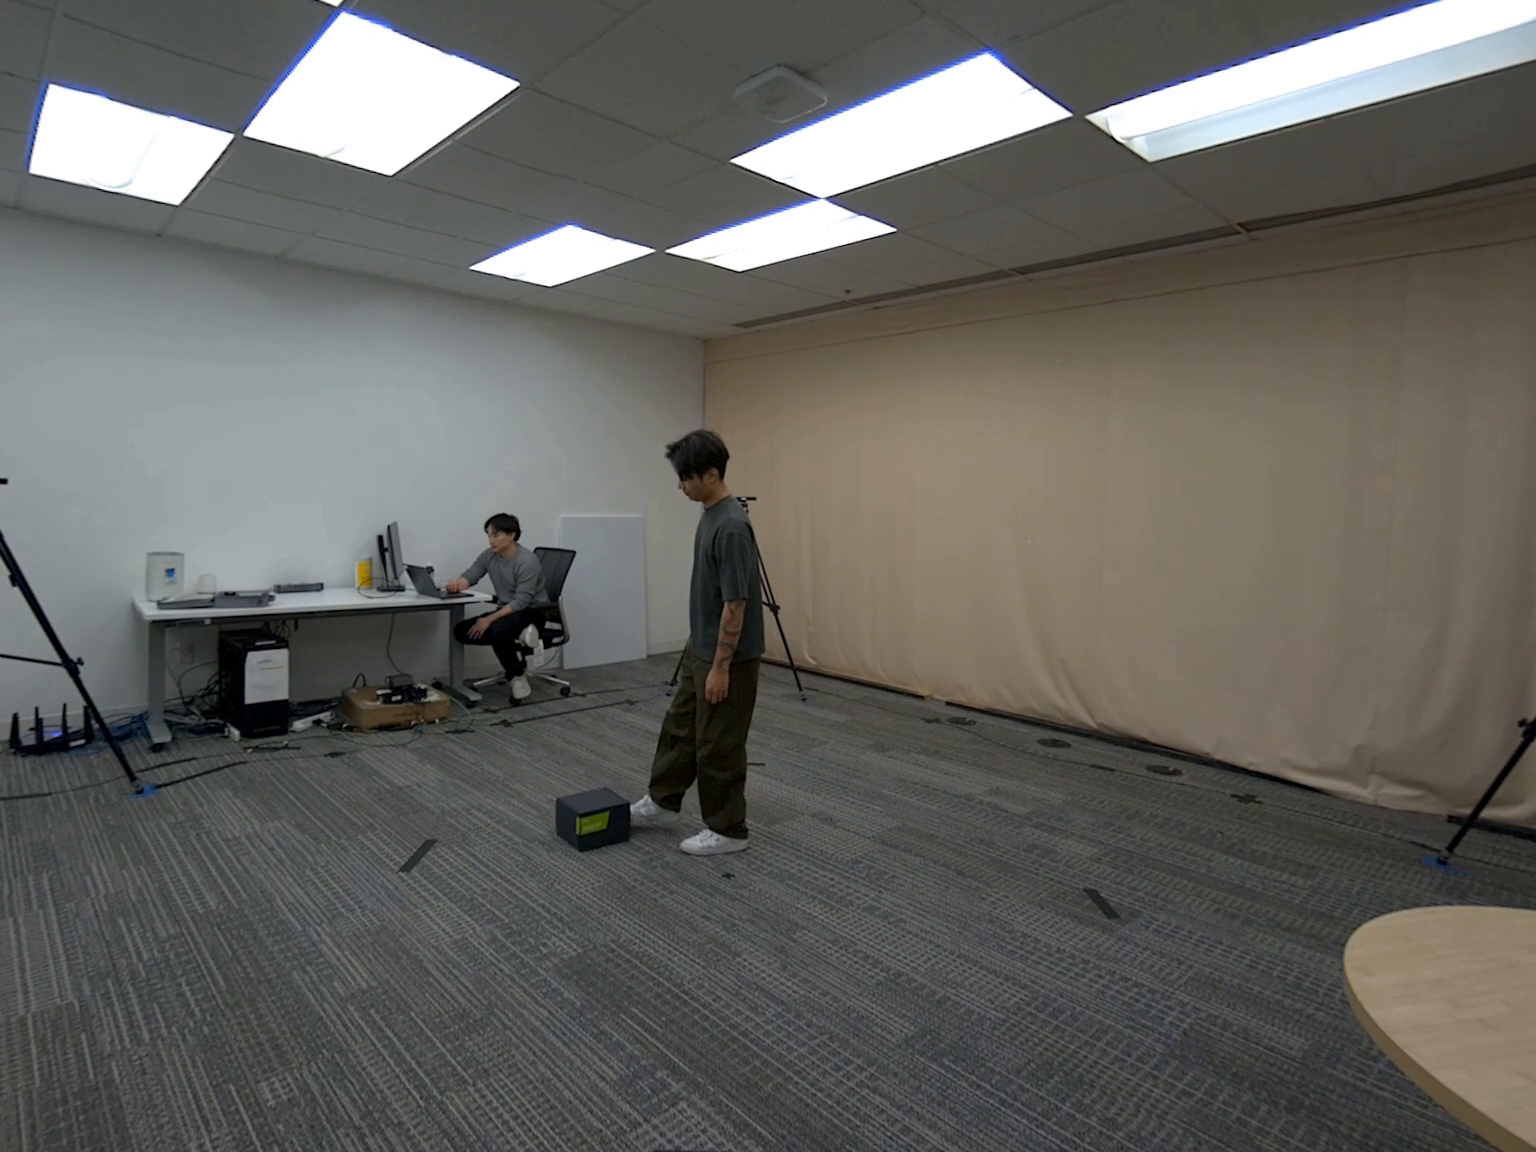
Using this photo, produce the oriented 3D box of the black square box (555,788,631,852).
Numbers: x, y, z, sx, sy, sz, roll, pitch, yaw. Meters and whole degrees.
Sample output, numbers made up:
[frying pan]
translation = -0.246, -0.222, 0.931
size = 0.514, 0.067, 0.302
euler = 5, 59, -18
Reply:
[black square box]
translation = -0.713, 0.978, 3.419
size = 0.223, 0.155, 0.222
euler = -2, 5, -39
